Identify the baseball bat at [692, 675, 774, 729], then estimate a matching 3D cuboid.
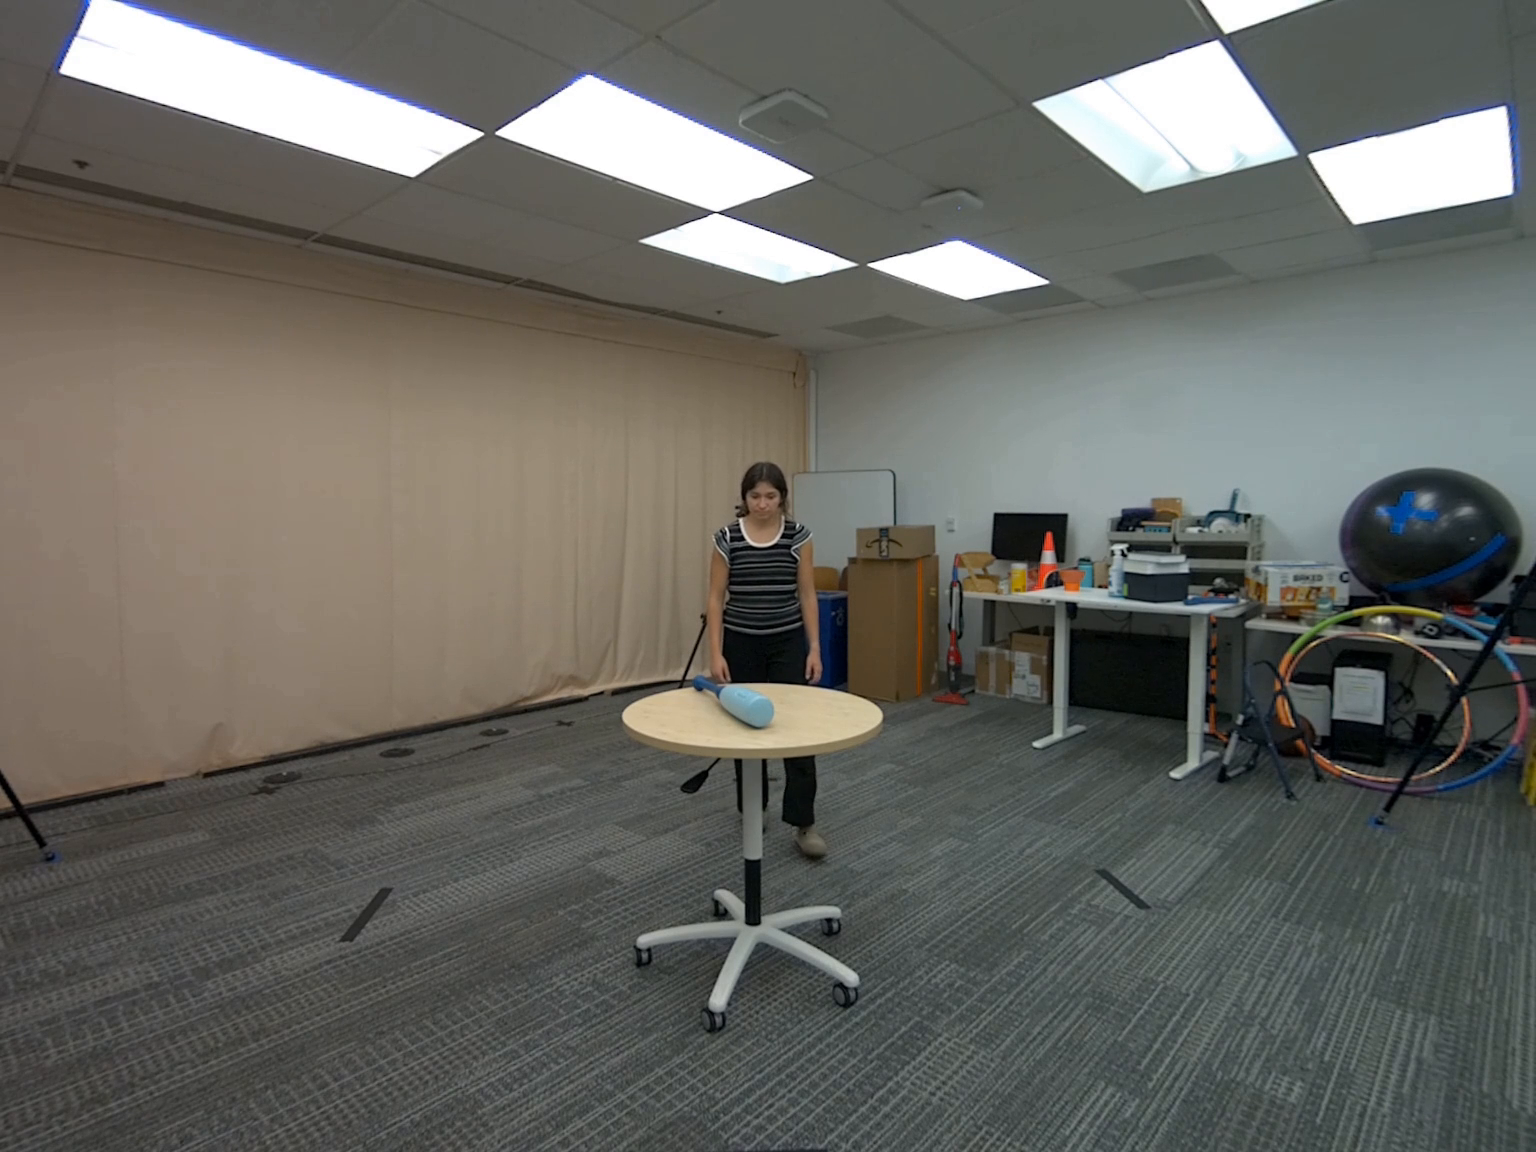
[{"bbox_3d":[-0.124,0.364,2.535,0.087,0.089,0.556,-1,2,-24],"label":"baseball bat"}]
